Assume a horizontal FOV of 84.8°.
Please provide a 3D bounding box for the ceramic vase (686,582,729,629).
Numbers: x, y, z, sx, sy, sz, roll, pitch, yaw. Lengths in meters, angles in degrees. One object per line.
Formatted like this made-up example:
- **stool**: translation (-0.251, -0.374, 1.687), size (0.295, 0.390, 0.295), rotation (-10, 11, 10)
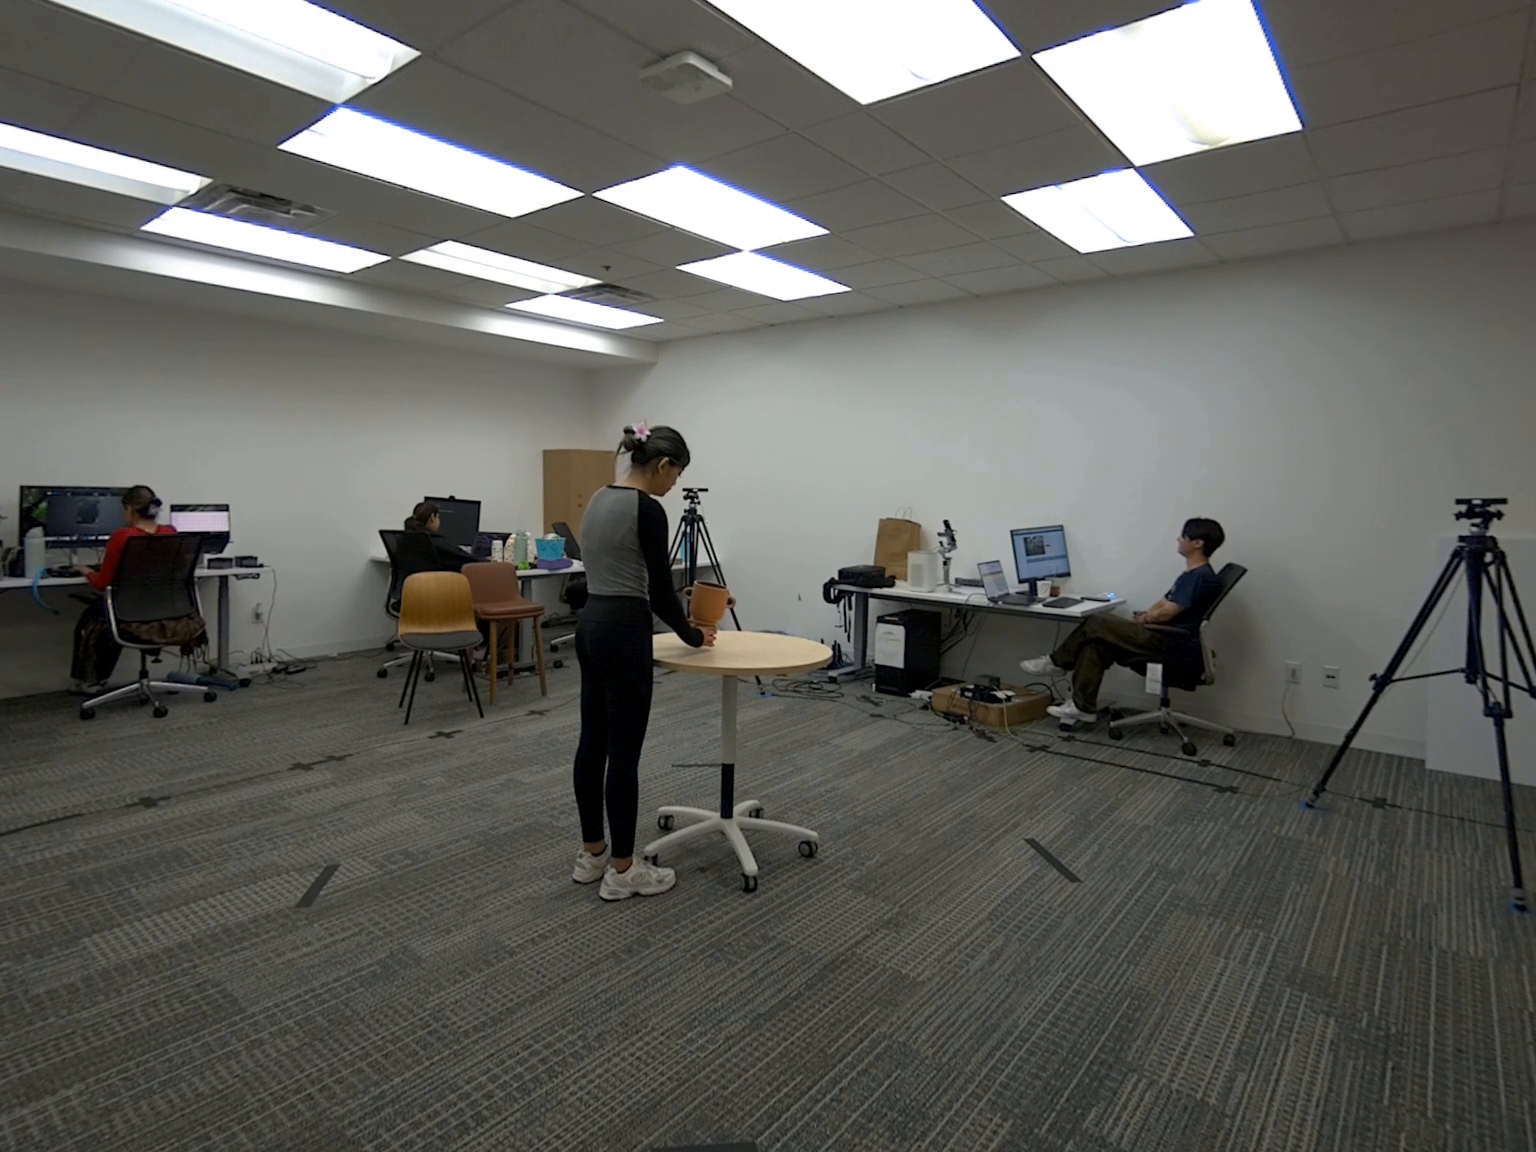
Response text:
- **ceramic vase**: translation (-0.230, 0.137, 3.152), size (0.164, 0.219, 0.131), rotation (12, 5, 31)
